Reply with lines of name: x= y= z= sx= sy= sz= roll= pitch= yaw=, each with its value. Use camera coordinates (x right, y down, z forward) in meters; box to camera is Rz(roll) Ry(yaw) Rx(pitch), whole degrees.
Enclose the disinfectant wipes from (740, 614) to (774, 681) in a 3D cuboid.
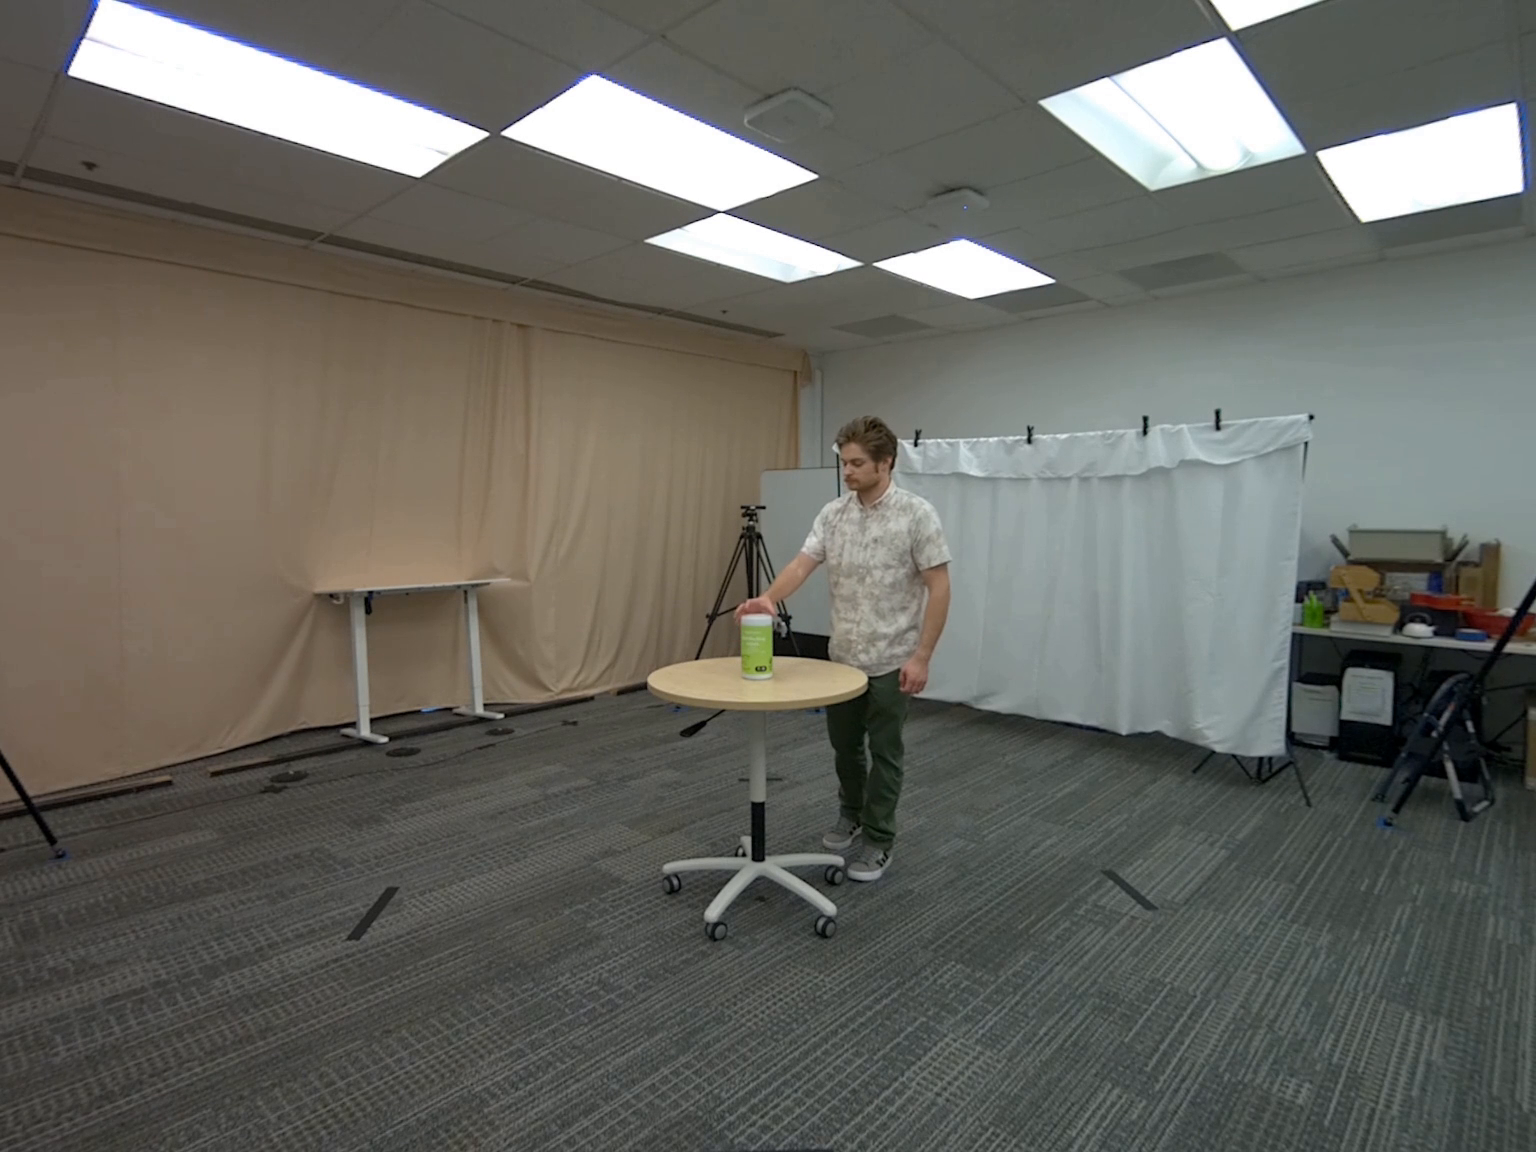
disinfectant wipes: x=-0.036 y=0.246 z=2.929 sx=0.118 sy=0.217 sz=0.118 roll=-1 pitch=3 yaw=-2
